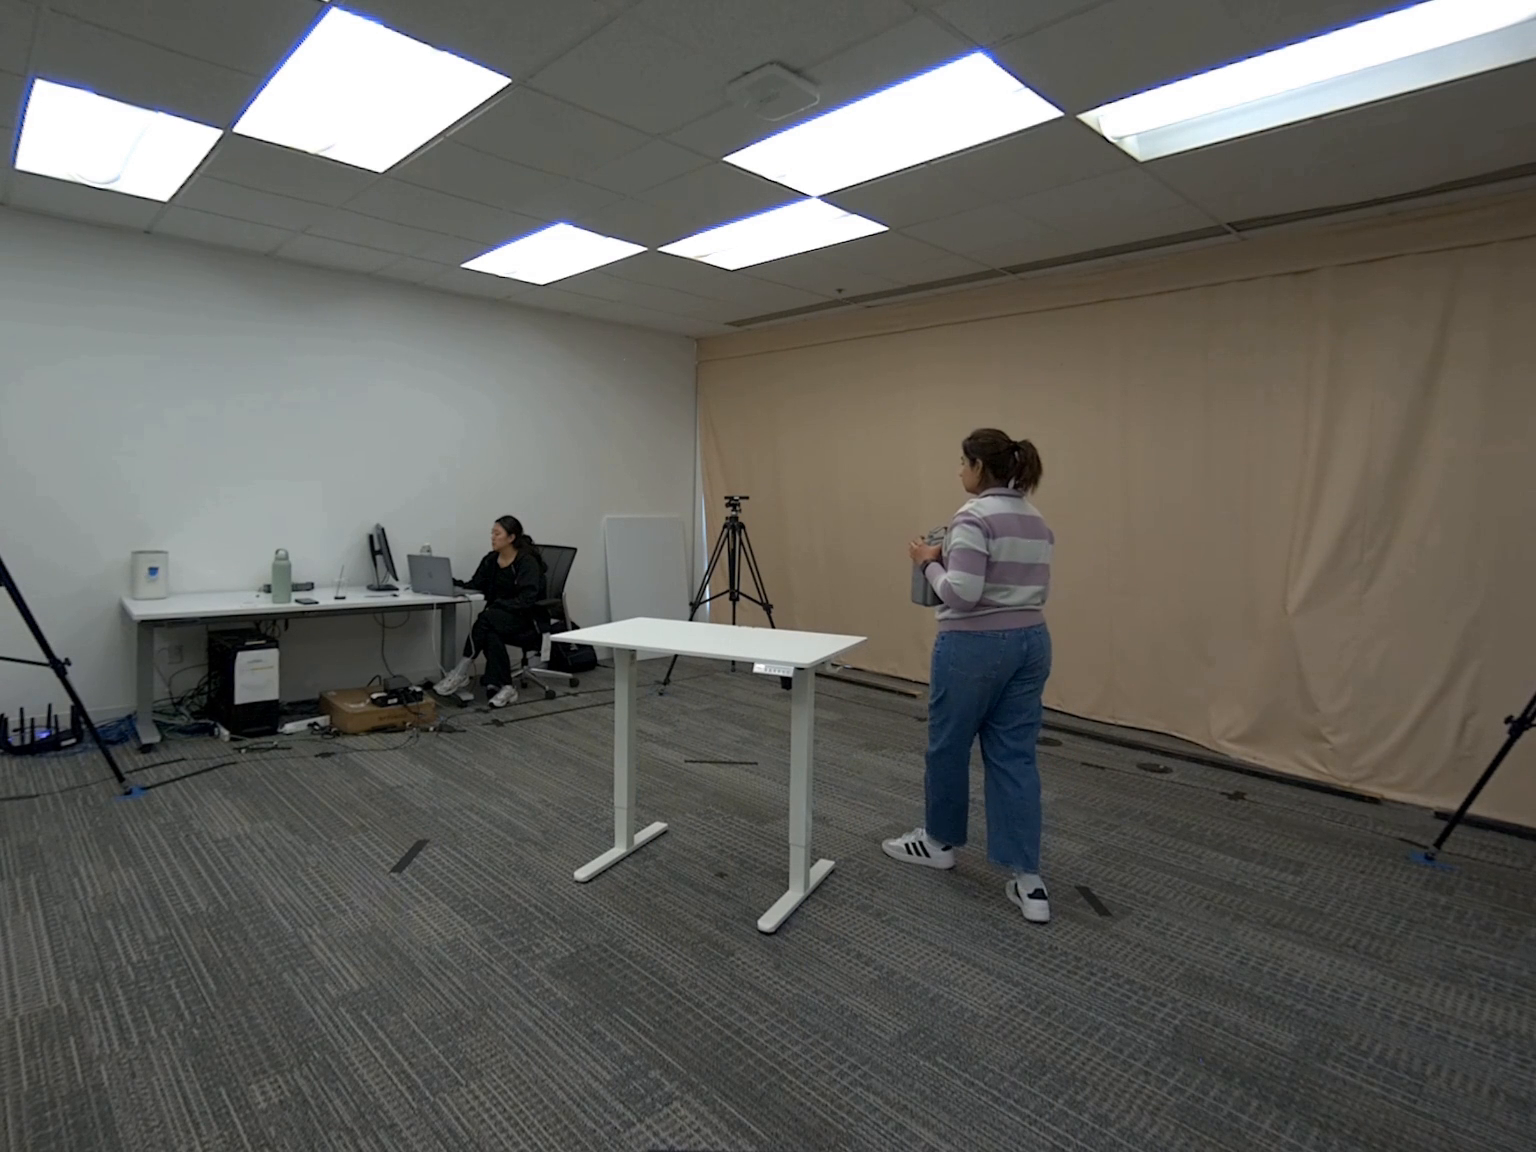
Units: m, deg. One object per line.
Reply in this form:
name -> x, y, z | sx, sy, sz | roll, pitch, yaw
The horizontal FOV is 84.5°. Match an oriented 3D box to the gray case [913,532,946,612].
gray case -> 0.659, -0.022, 3.196 | 0.107, 0.259, 0.252 | 8, 10, 35
